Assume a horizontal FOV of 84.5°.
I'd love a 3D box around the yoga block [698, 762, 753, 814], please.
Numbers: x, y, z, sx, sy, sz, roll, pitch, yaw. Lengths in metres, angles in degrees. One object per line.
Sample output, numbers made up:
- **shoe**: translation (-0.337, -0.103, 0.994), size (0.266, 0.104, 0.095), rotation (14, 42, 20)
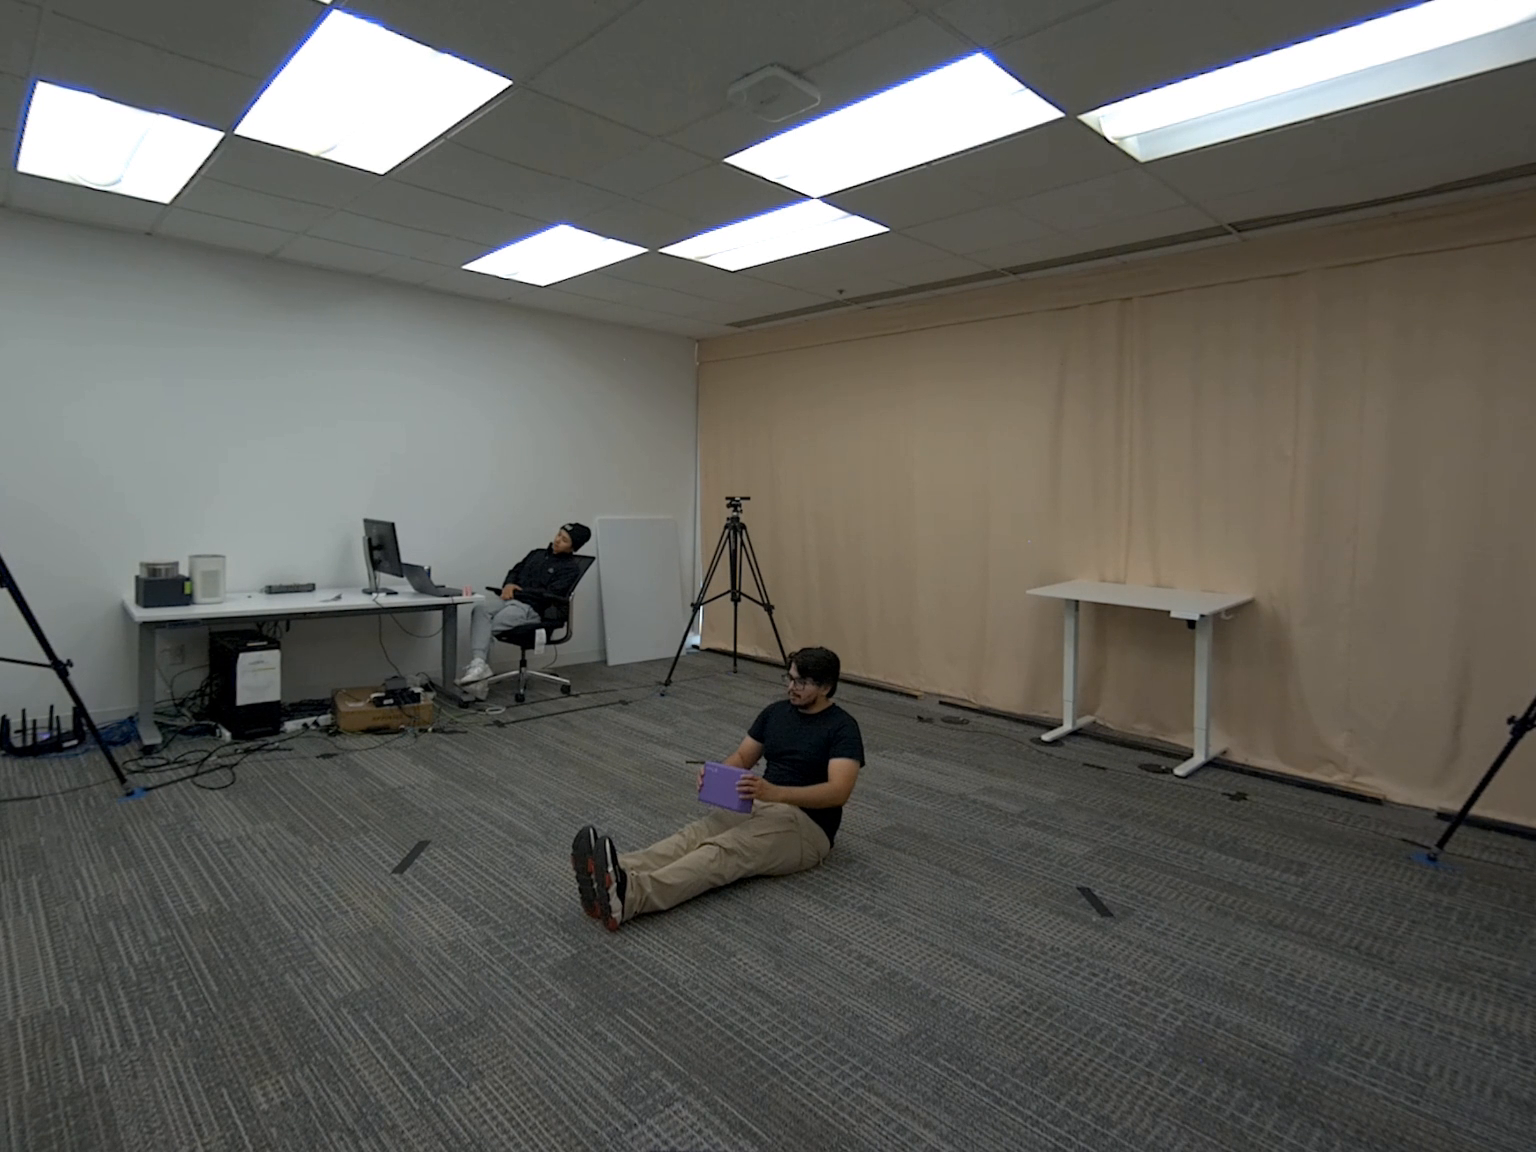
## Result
- **yoga block**: translation (-0.154, 0.784, 3.120), size (0.235, 0.150, 0.074), rotation (2, -16, 45)
